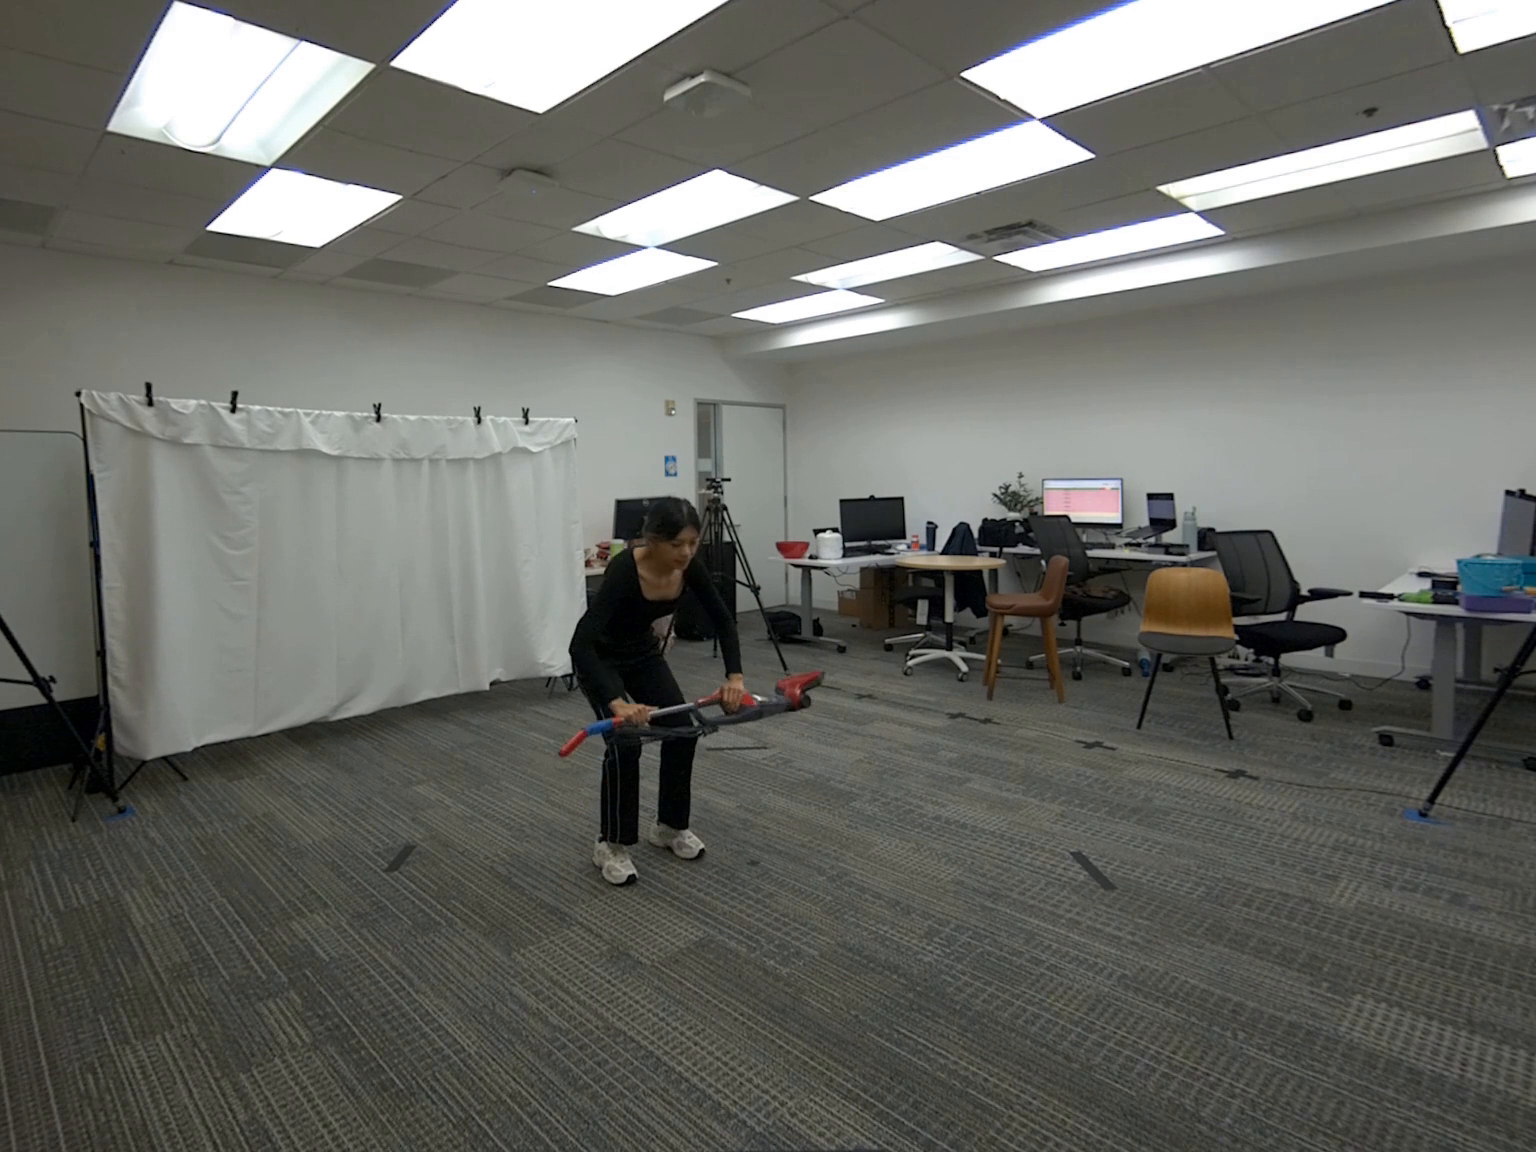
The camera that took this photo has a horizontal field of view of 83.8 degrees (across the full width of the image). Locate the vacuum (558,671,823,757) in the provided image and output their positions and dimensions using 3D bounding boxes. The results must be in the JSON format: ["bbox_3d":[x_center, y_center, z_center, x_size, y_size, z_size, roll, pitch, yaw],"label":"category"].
[{"bbox_3d":[-0.252,0.492,2.908,1.022,0.145,0.257,-7,-8,-43],"label":"vacuum"}]
